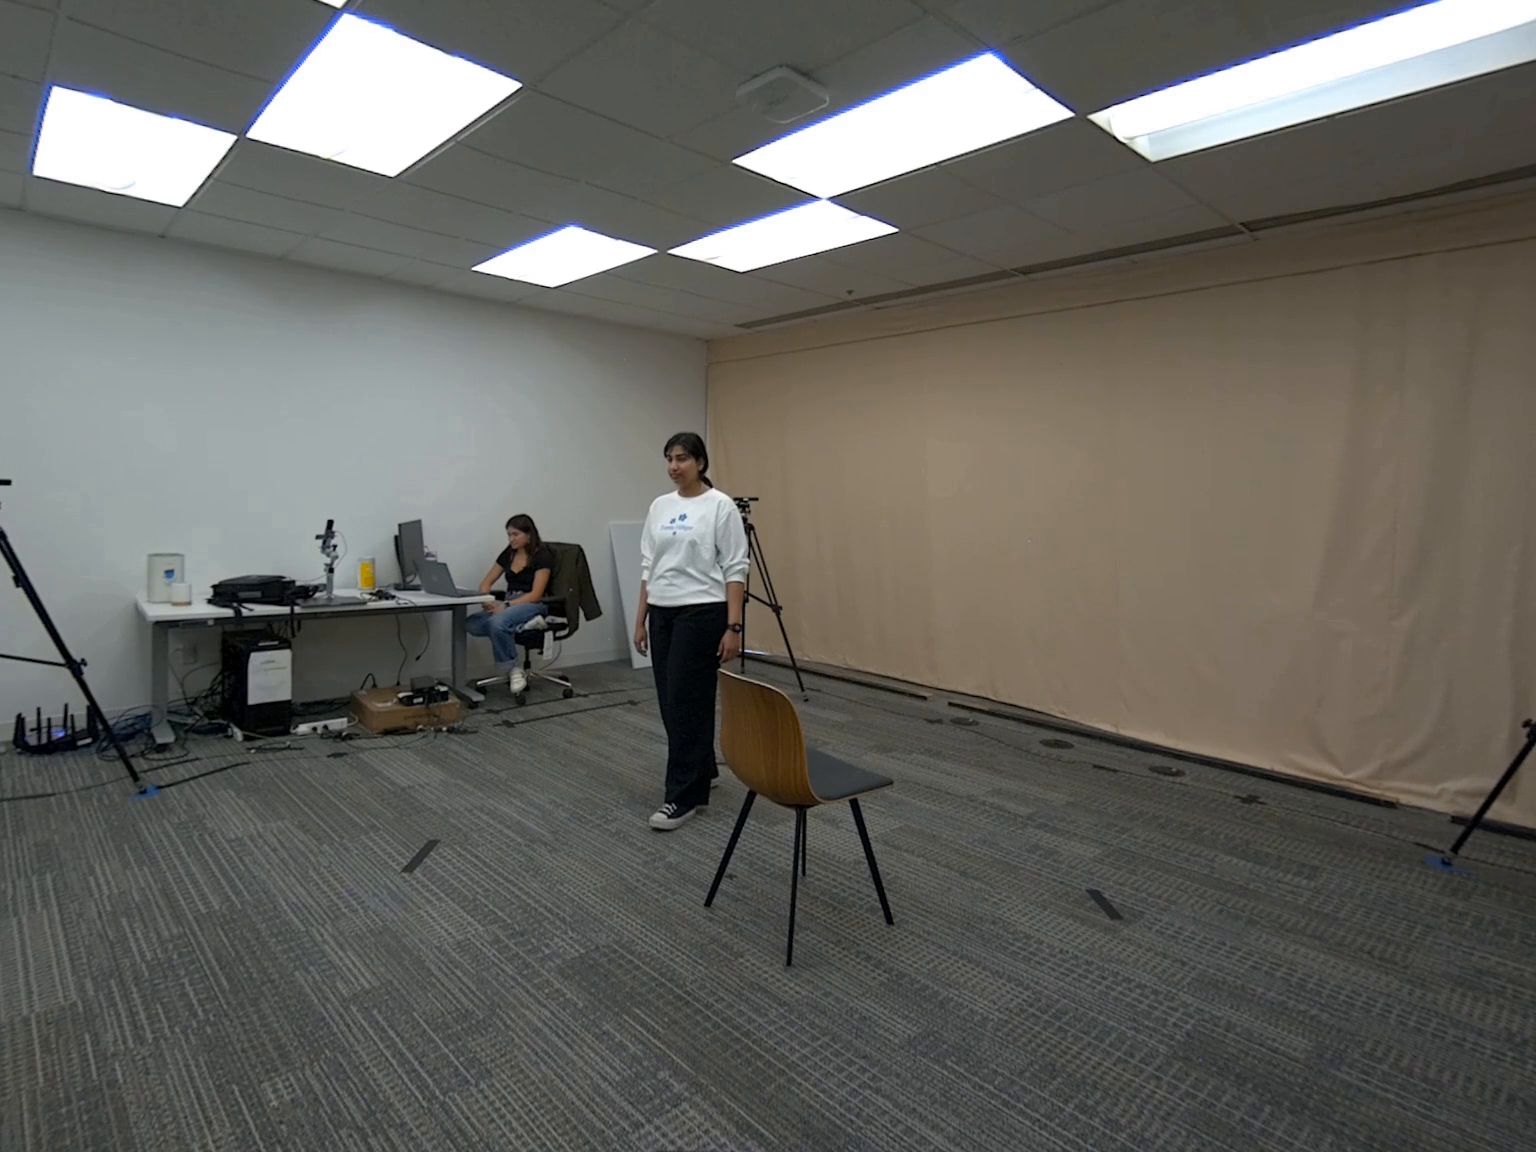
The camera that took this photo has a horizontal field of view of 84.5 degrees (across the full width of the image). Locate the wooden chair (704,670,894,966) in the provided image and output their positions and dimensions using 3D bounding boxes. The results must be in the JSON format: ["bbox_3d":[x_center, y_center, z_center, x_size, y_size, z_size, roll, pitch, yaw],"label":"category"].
[{"bbox_3d":[0.110,0.714,2.797,0.512,0.873,0.490,-7,8,-37],"label":"wooden chair"}]
